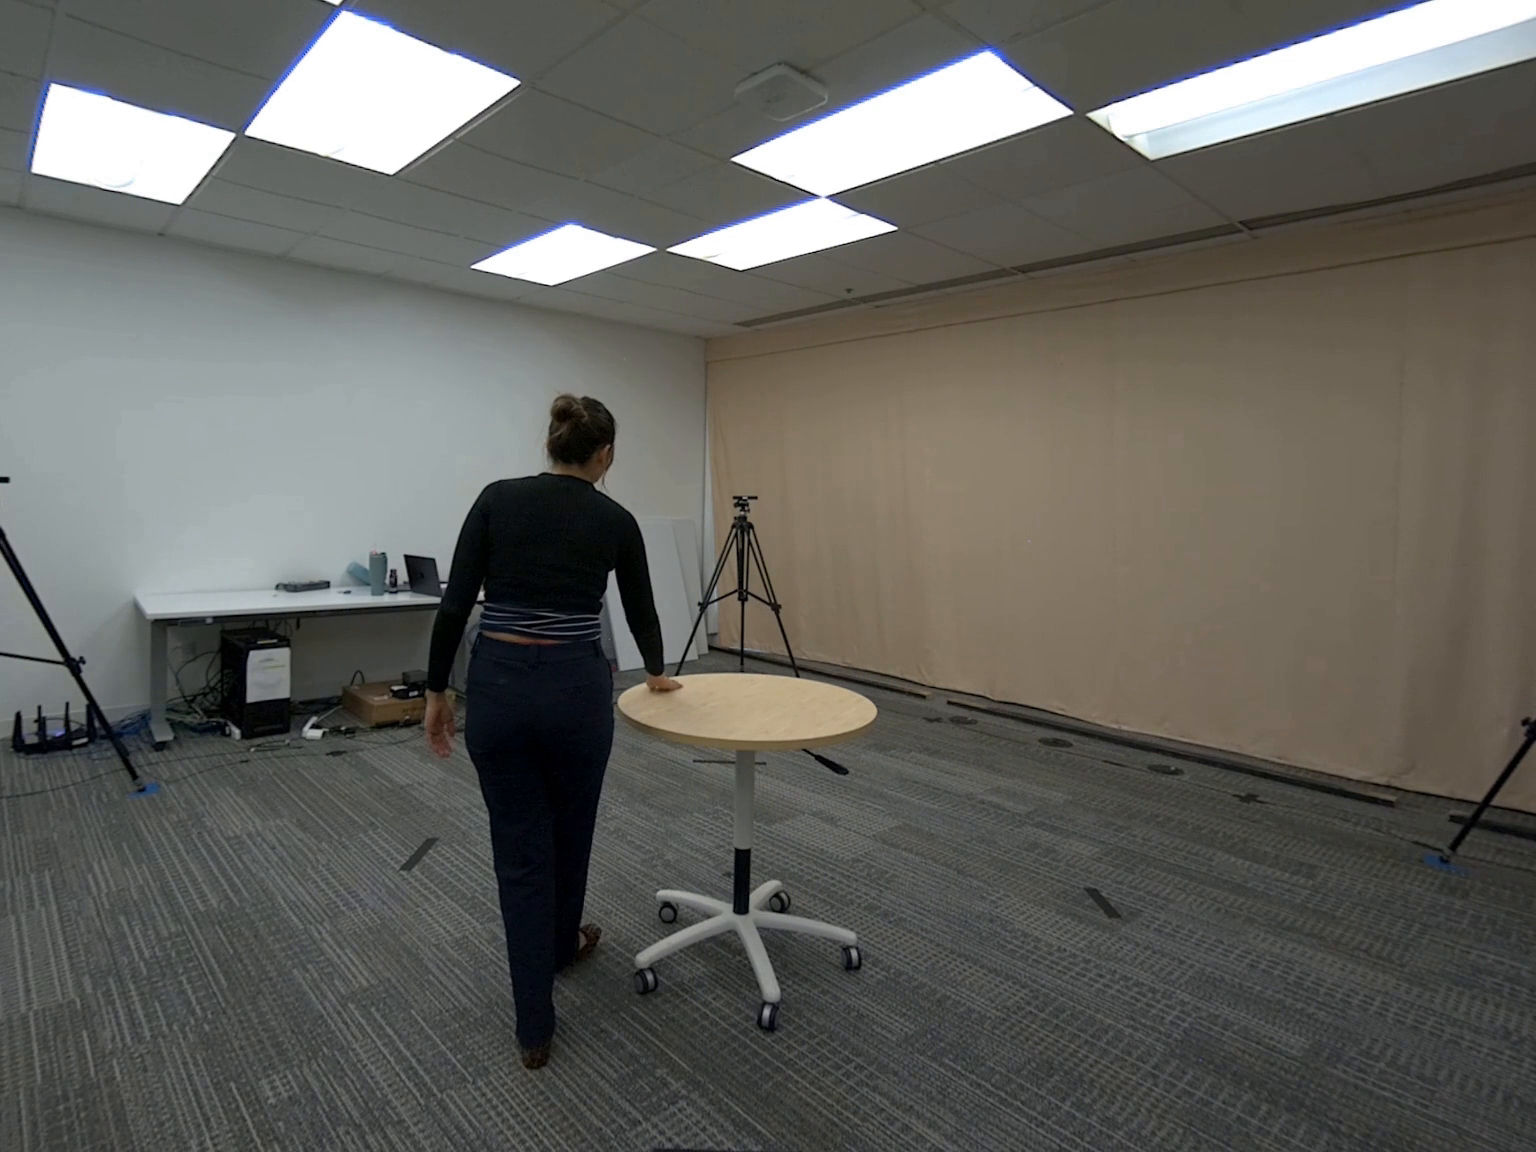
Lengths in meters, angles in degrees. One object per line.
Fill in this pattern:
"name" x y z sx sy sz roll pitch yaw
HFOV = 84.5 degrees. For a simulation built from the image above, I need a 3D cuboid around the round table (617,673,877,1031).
"round table" -0.083 0.769 2.530 0.763 0.791 0.767 1 5 -1
